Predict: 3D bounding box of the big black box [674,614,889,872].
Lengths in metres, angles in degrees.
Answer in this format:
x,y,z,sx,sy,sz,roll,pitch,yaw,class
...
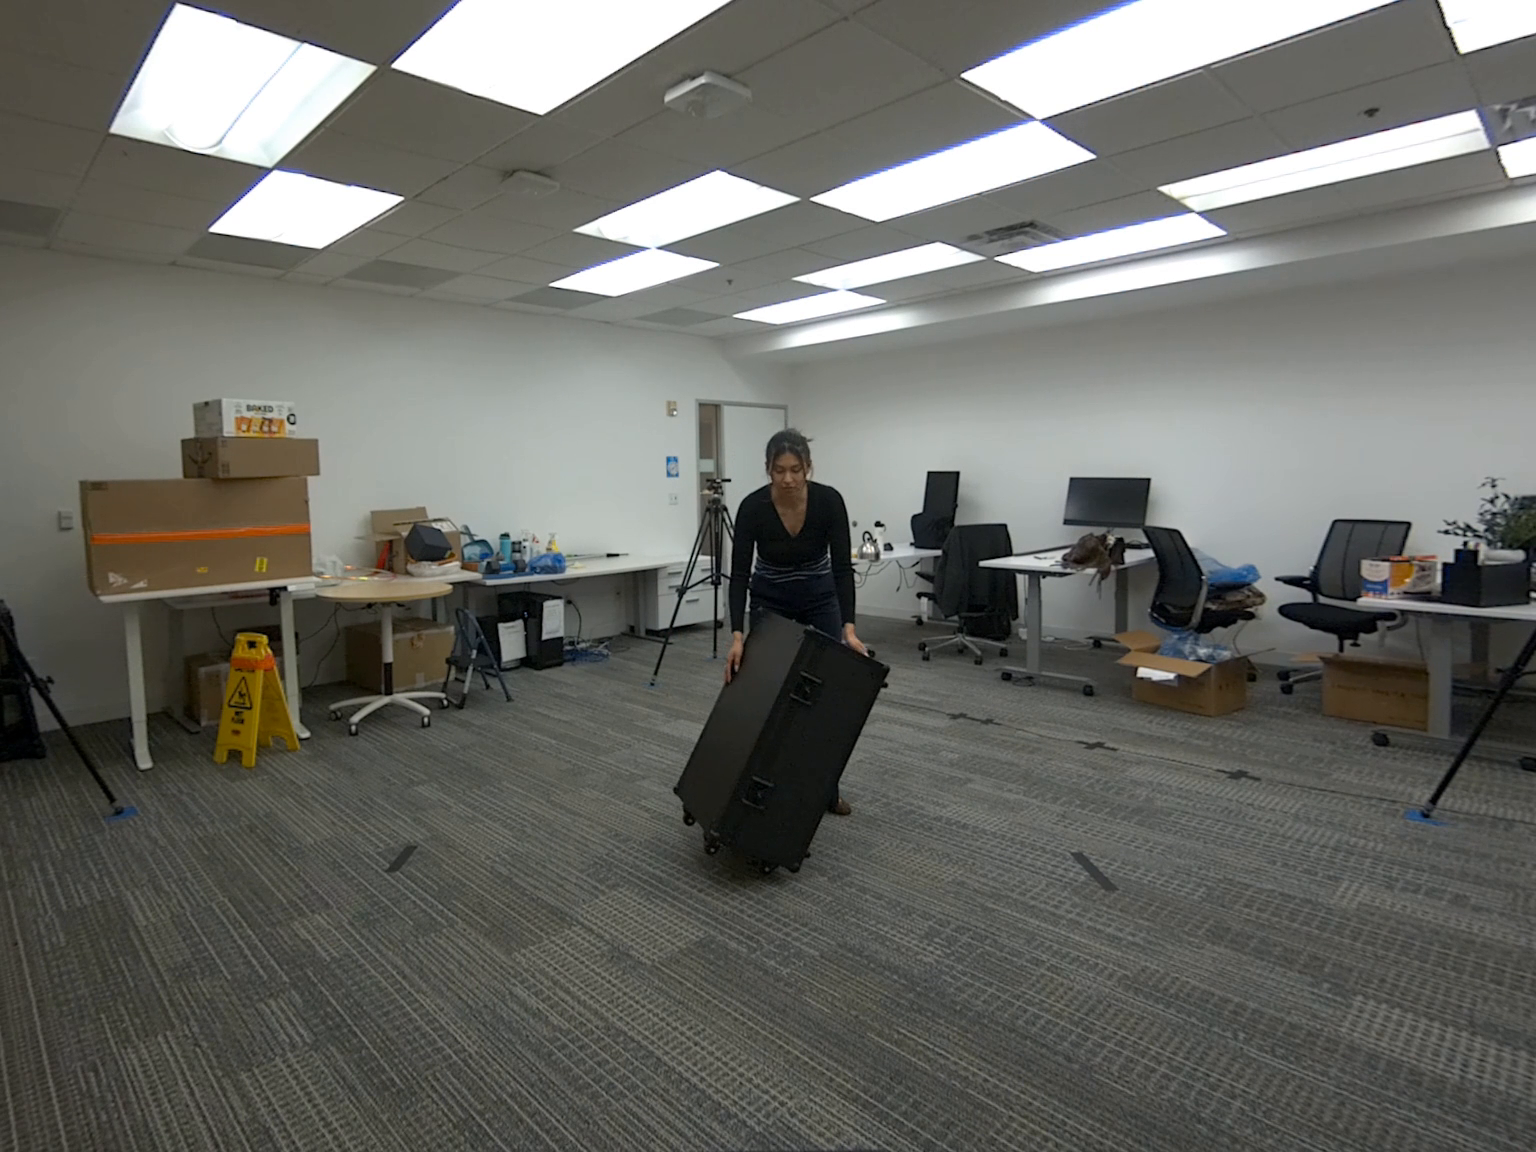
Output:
x,y,z,sx,sy,sz,roll,pitch,yaw,class
0.055,0.562,3.149,0.387,0.863,0.532,27,-5,-20,big black box
